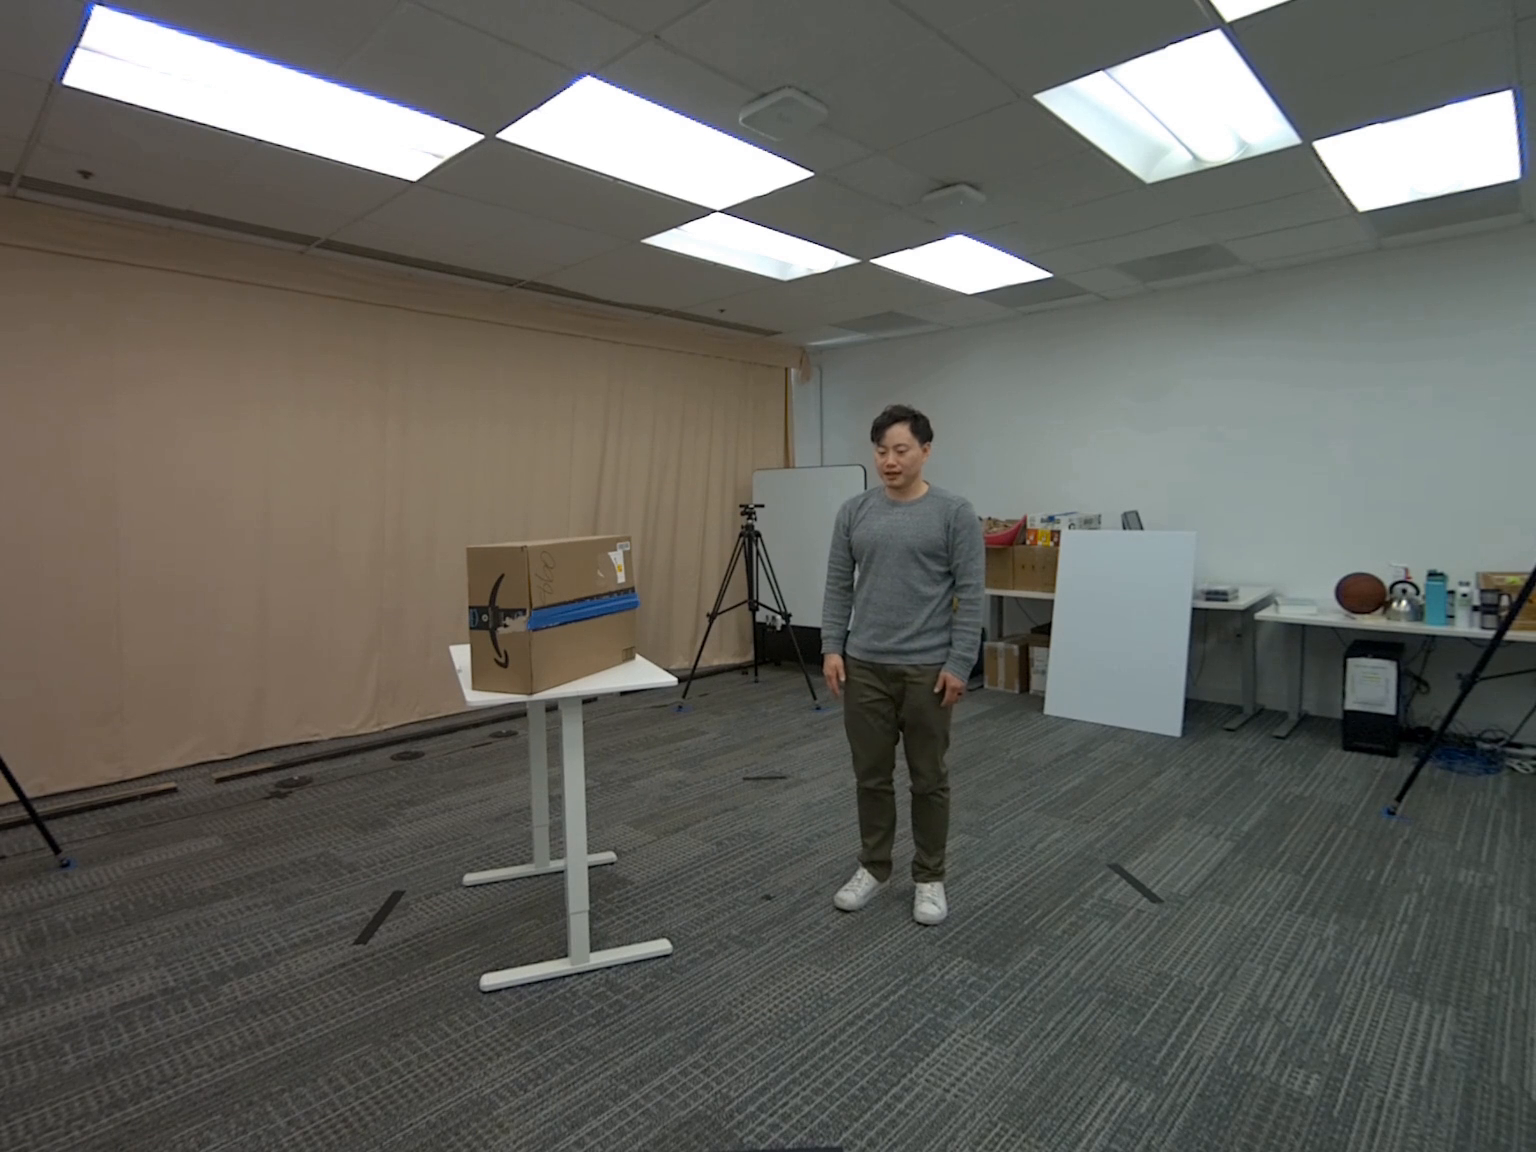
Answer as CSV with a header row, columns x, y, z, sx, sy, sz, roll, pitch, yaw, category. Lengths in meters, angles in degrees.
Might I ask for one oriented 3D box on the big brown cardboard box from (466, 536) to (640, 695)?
x,y,z,sx,sy,sz,roll,pitch,yaw,category
-0.658,0.100,2.618,0.238,0.416,0.577,-1,4,21,big brown cardboard box
